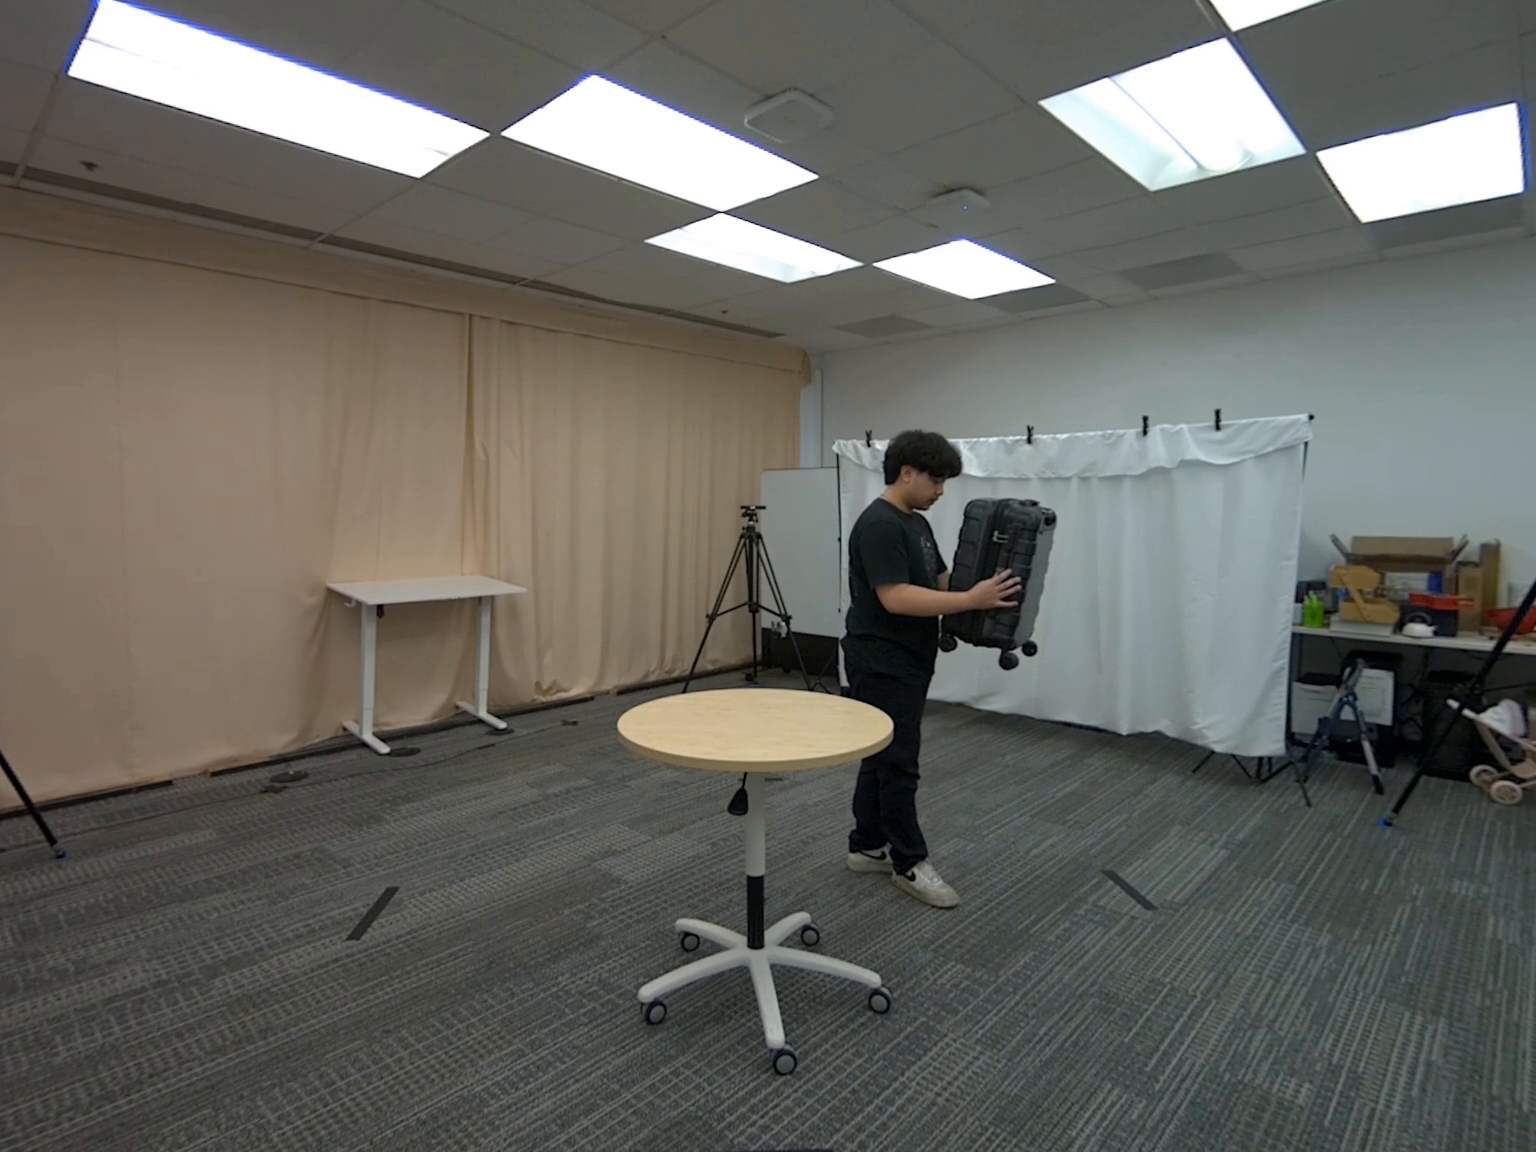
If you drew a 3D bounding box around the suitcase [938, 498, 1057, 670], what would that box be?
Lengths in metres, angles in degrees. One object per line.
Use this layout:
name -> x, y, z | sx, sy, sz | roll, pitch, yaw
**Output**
suitcase -> 0.817, 0.004, 2.922 | 0.257, 0.547, 0.364 | 14, 10, 34
